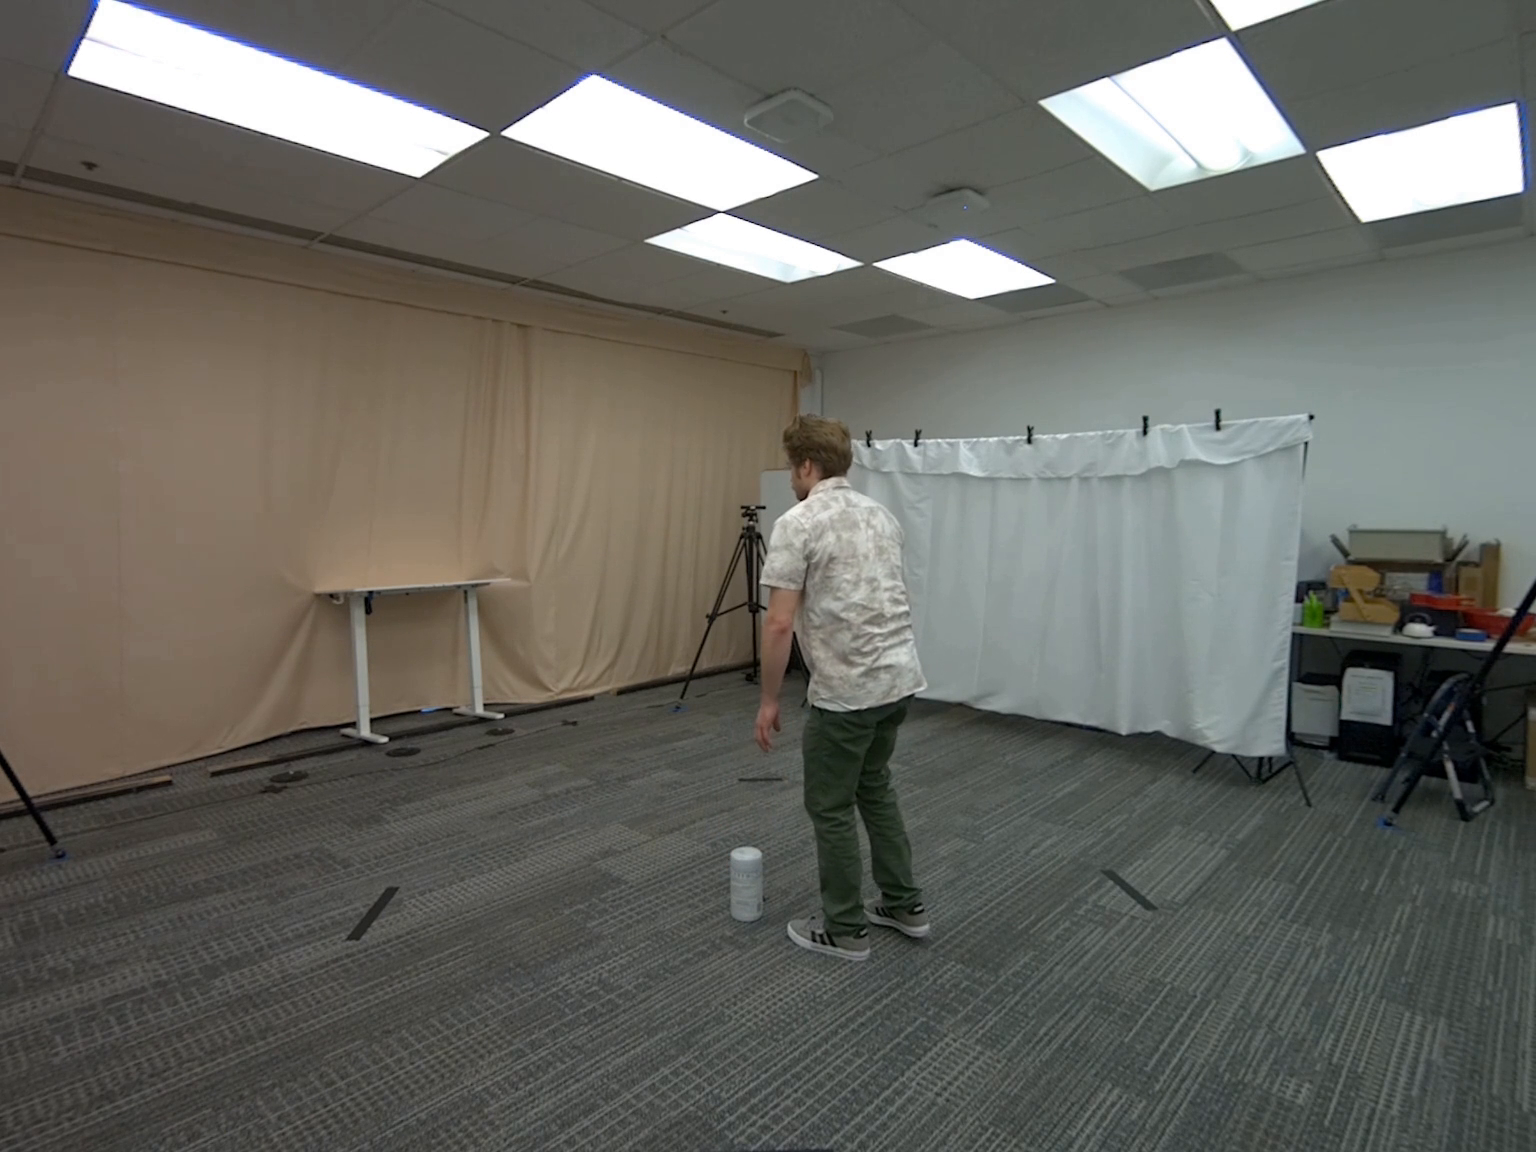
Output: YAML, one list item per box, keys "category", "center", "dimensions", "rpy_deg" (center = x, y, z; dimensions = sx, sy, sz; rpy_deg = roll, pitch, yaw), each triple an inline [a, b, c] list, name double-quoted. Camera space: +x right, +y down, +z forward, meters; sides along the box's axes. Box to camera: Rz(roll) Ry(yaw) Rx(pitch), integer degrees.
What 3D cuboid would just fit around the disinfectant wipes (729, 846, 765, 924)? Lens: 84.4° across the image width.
- category: "disinfectant wipes"
  center: [-0.070, 1.050, 2.859]
  dimensions: [0.118, 0.217, 0.118]
  rpy_deg: [-1, 3, -2]
